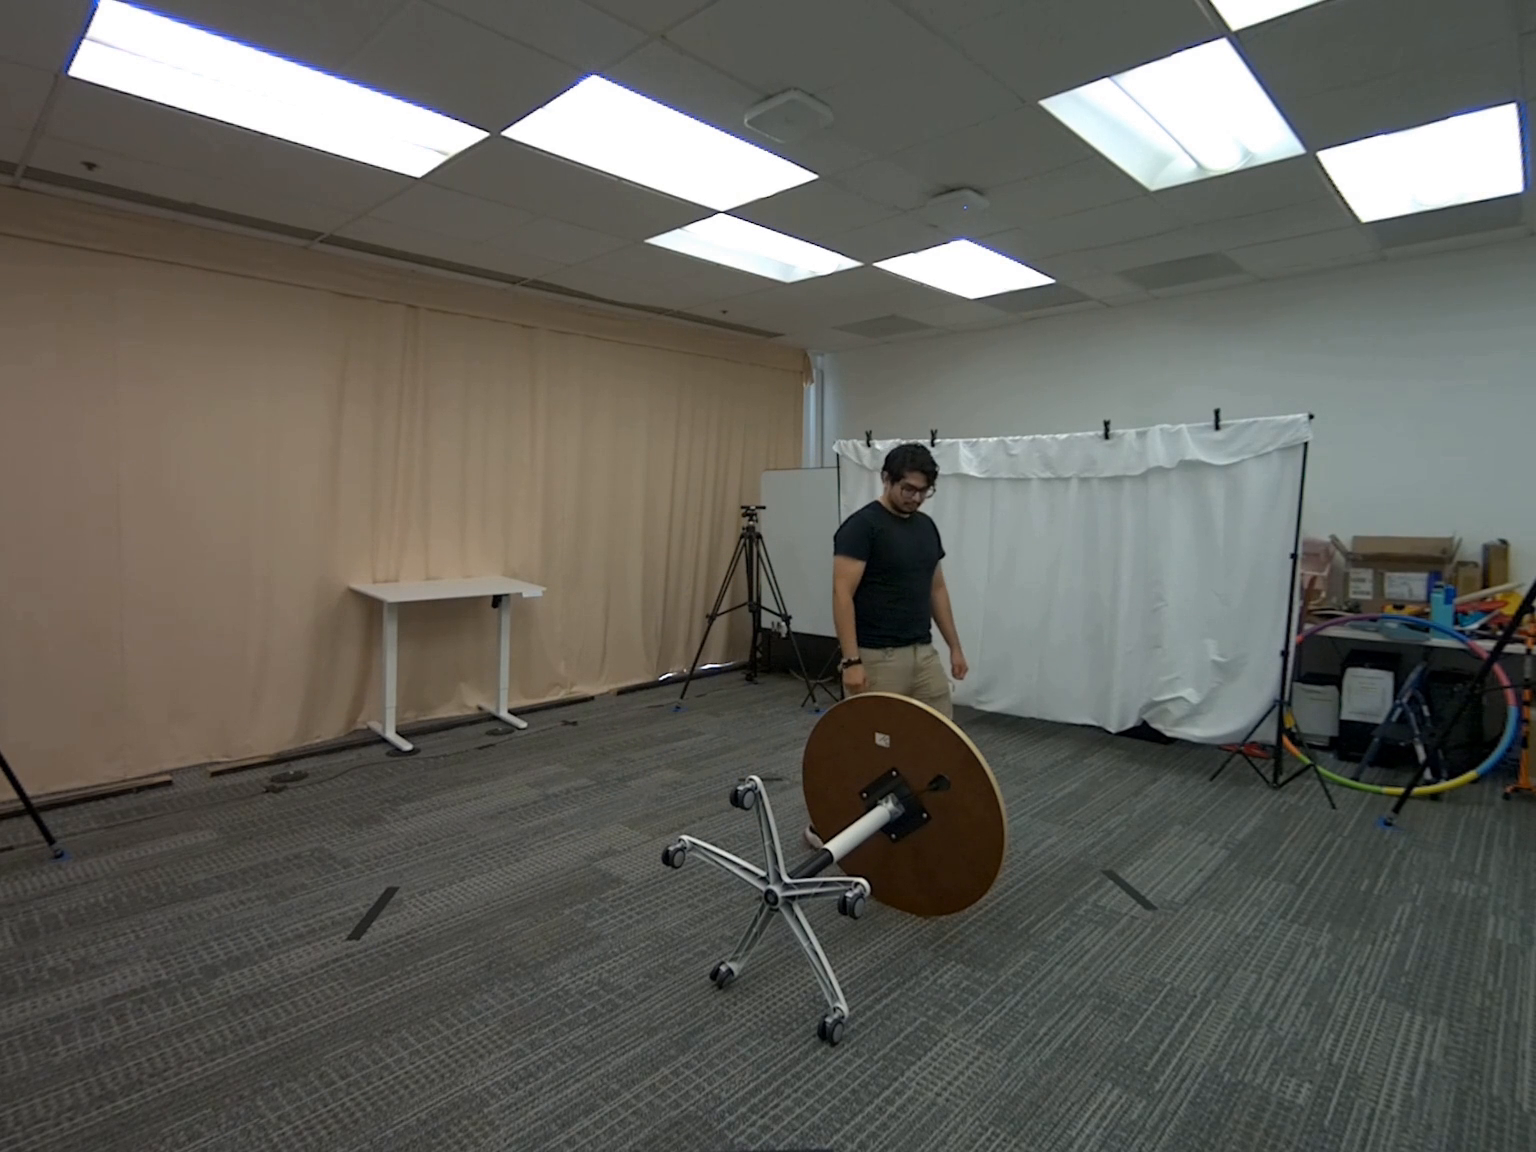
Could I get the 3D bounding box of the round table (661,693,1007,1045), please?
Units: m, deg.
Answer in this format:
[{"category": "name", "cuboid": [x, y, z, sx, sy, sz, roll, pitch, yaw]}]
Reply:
[{"category": "round table", "cuboid": [0.203, 0.845, 2.573, 0.811, 0.780, 0.766, 3, 12, 40]}]
